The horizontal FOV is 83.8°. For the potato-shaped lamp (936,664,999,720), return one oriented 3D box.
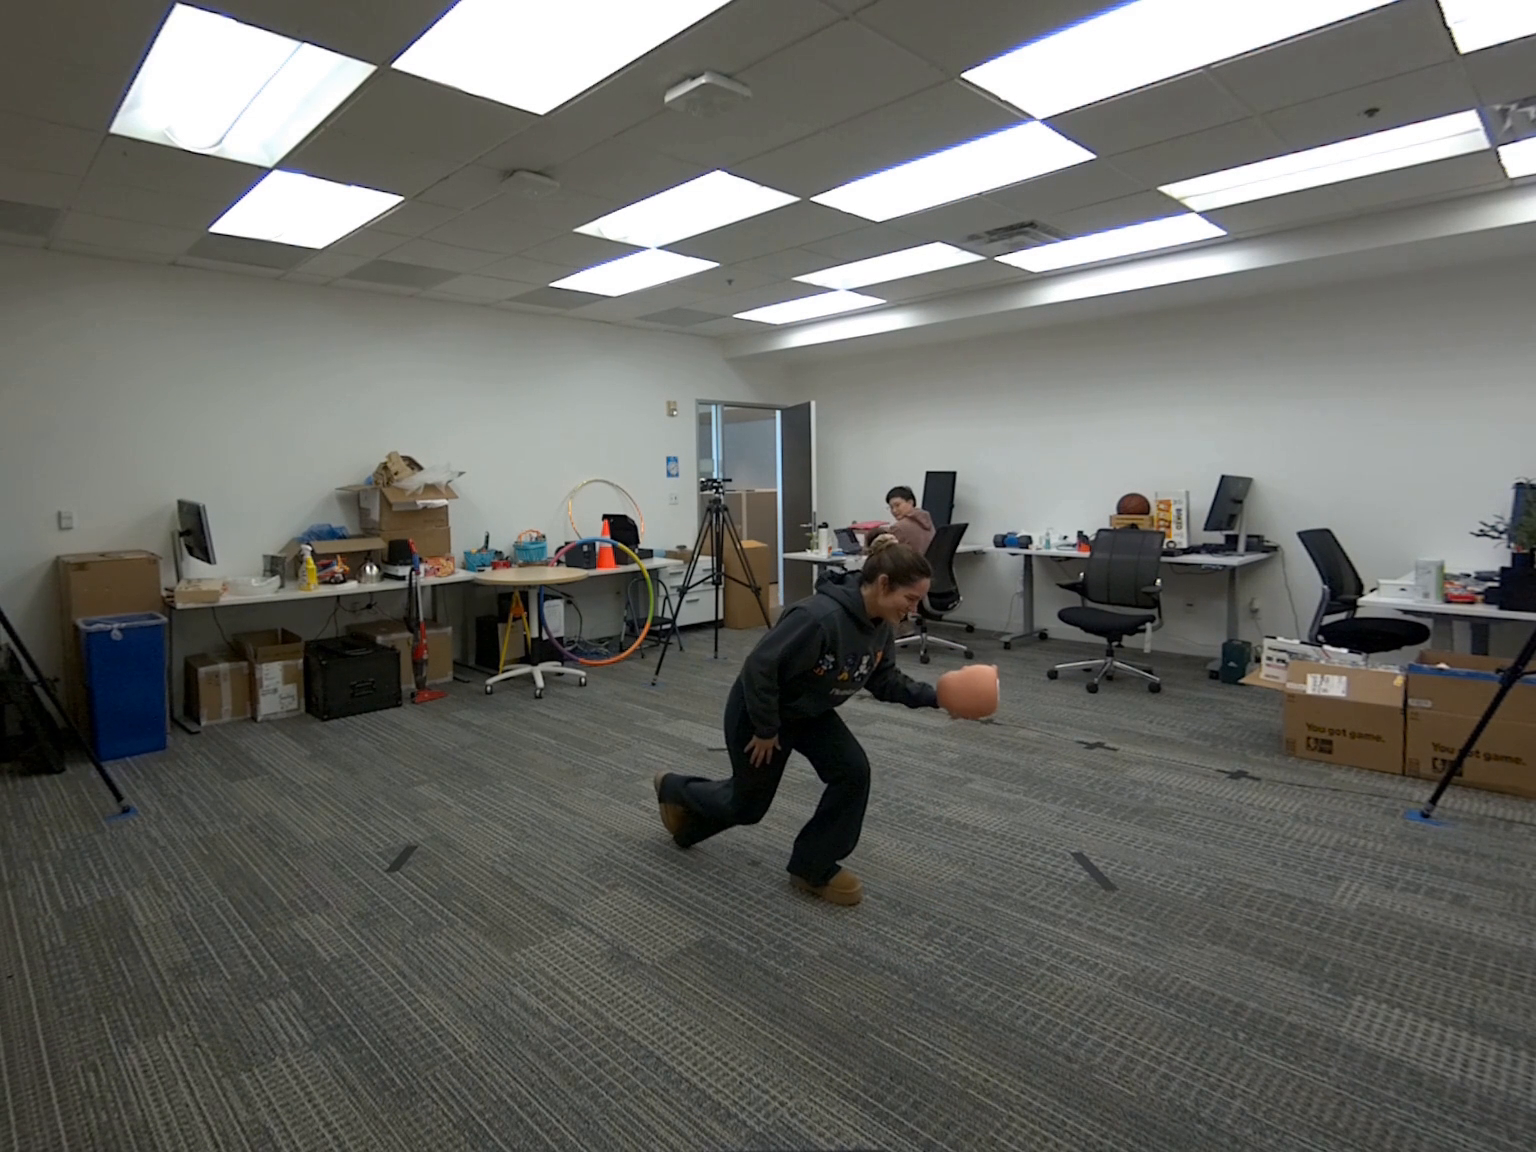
[{"bbox_3d":[0.648,0.373,2.786,0.201,0.174,0.159,3,-37,17],"label":"potato-shaped lamp"}]
